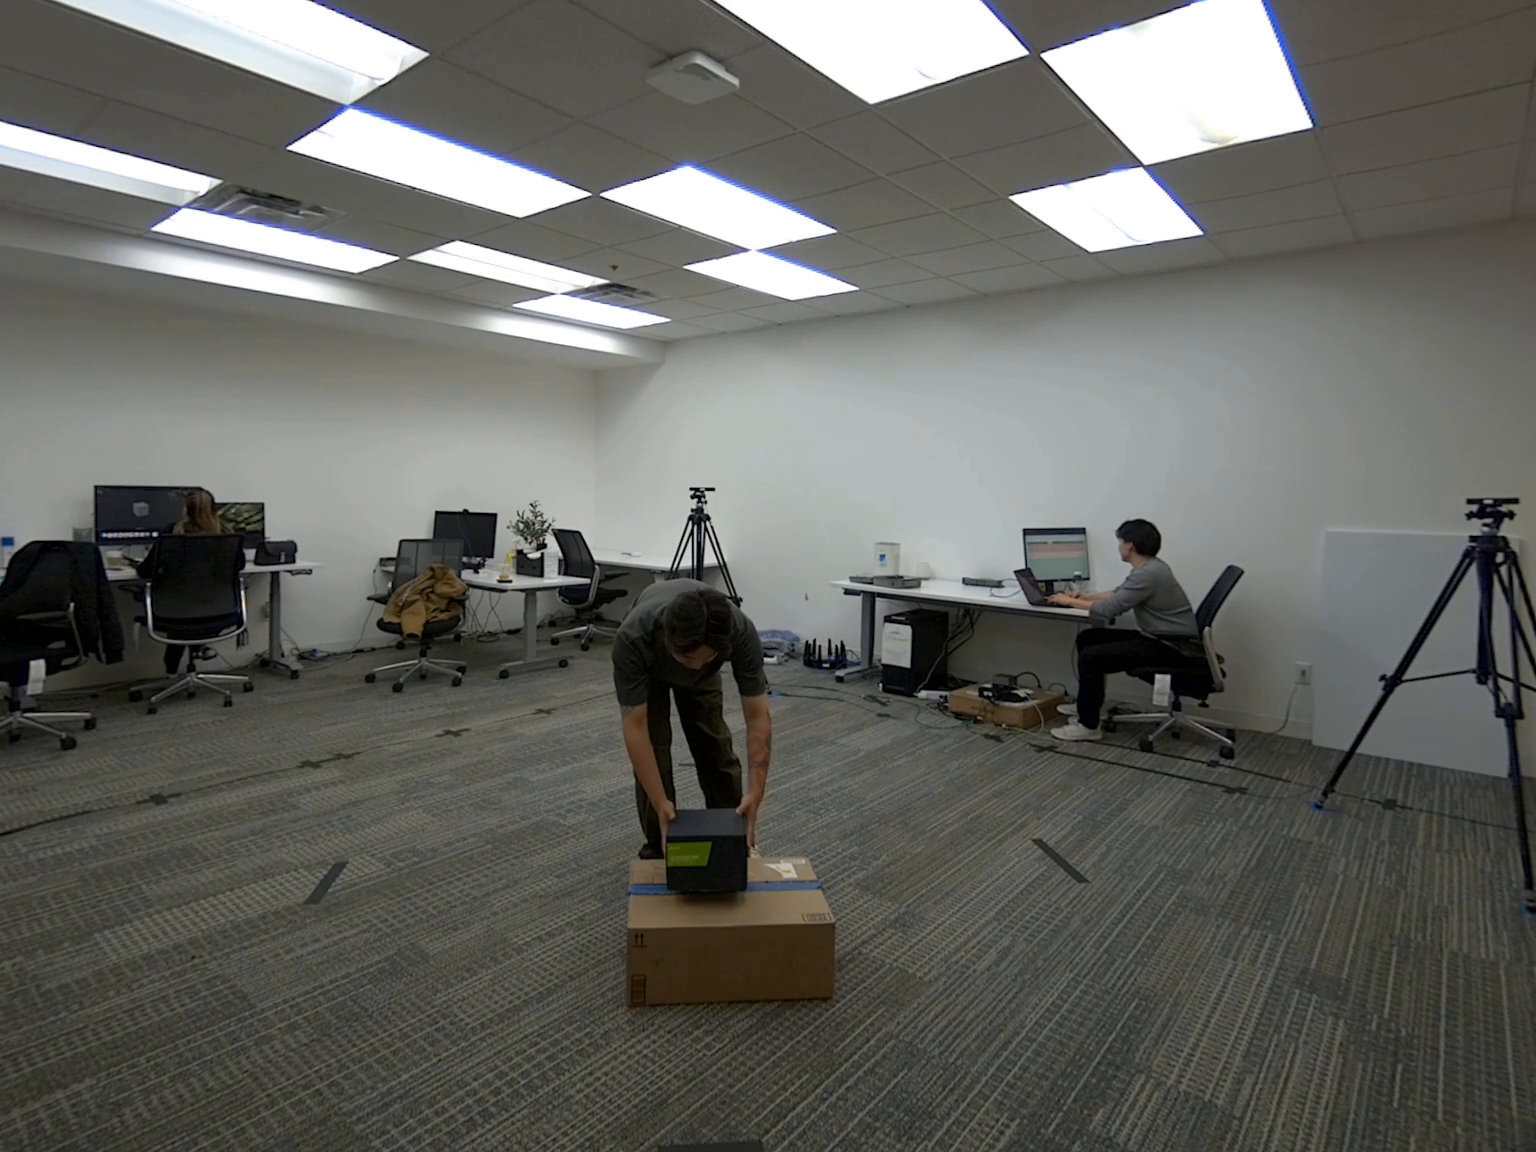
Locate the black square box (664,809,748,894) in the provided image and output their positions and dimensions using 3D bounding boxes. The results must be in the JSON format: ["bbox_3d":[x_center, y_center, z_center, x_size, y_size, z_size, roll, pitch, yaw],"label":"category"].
[{"bbox_3d":[-0.183,0.789,2.479,0.228,0.155,0.218,-1,4,-2],"label":"black square box"}]
